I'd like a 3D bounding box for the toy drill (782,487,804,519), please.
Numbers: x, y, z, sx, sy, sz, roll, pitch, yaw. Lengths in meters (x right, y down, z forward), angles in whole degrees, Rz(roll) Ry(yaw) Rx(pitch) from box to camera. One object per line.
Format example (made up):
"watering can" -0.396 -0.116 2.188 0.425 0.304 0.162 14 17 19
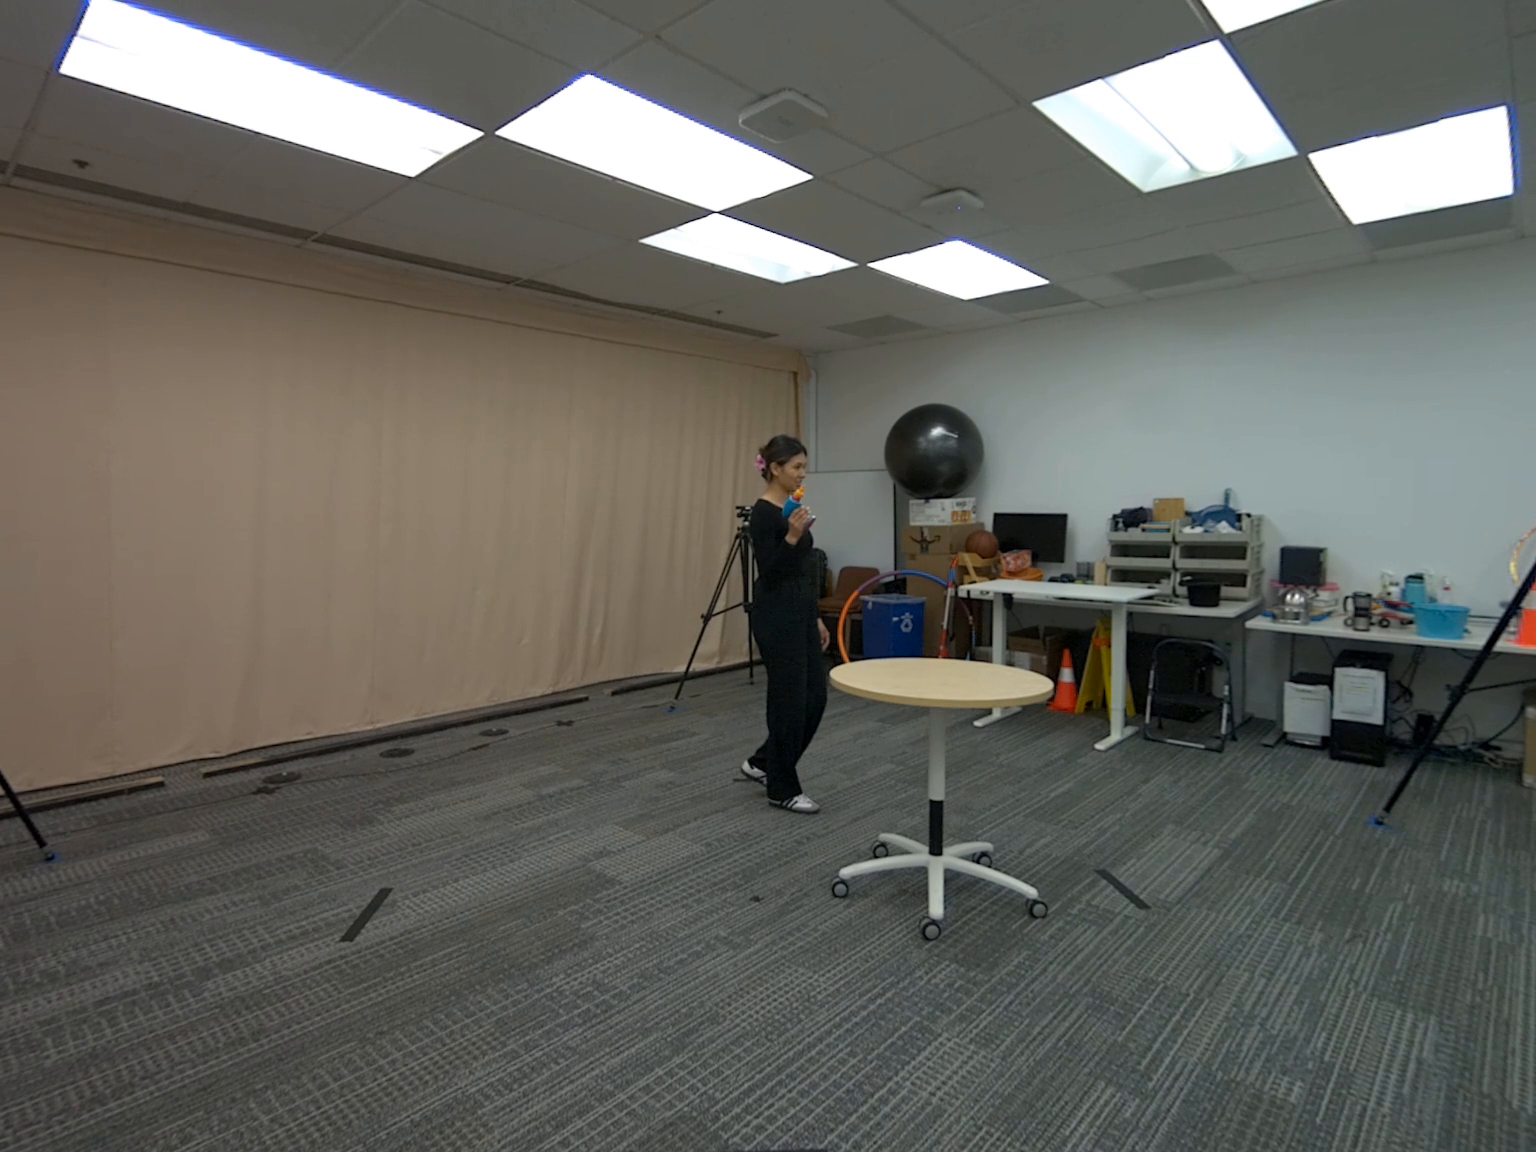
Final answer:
"toy drill" 0.133 -0.287 3.511 0.149 0.170 0.060 37 24 14
